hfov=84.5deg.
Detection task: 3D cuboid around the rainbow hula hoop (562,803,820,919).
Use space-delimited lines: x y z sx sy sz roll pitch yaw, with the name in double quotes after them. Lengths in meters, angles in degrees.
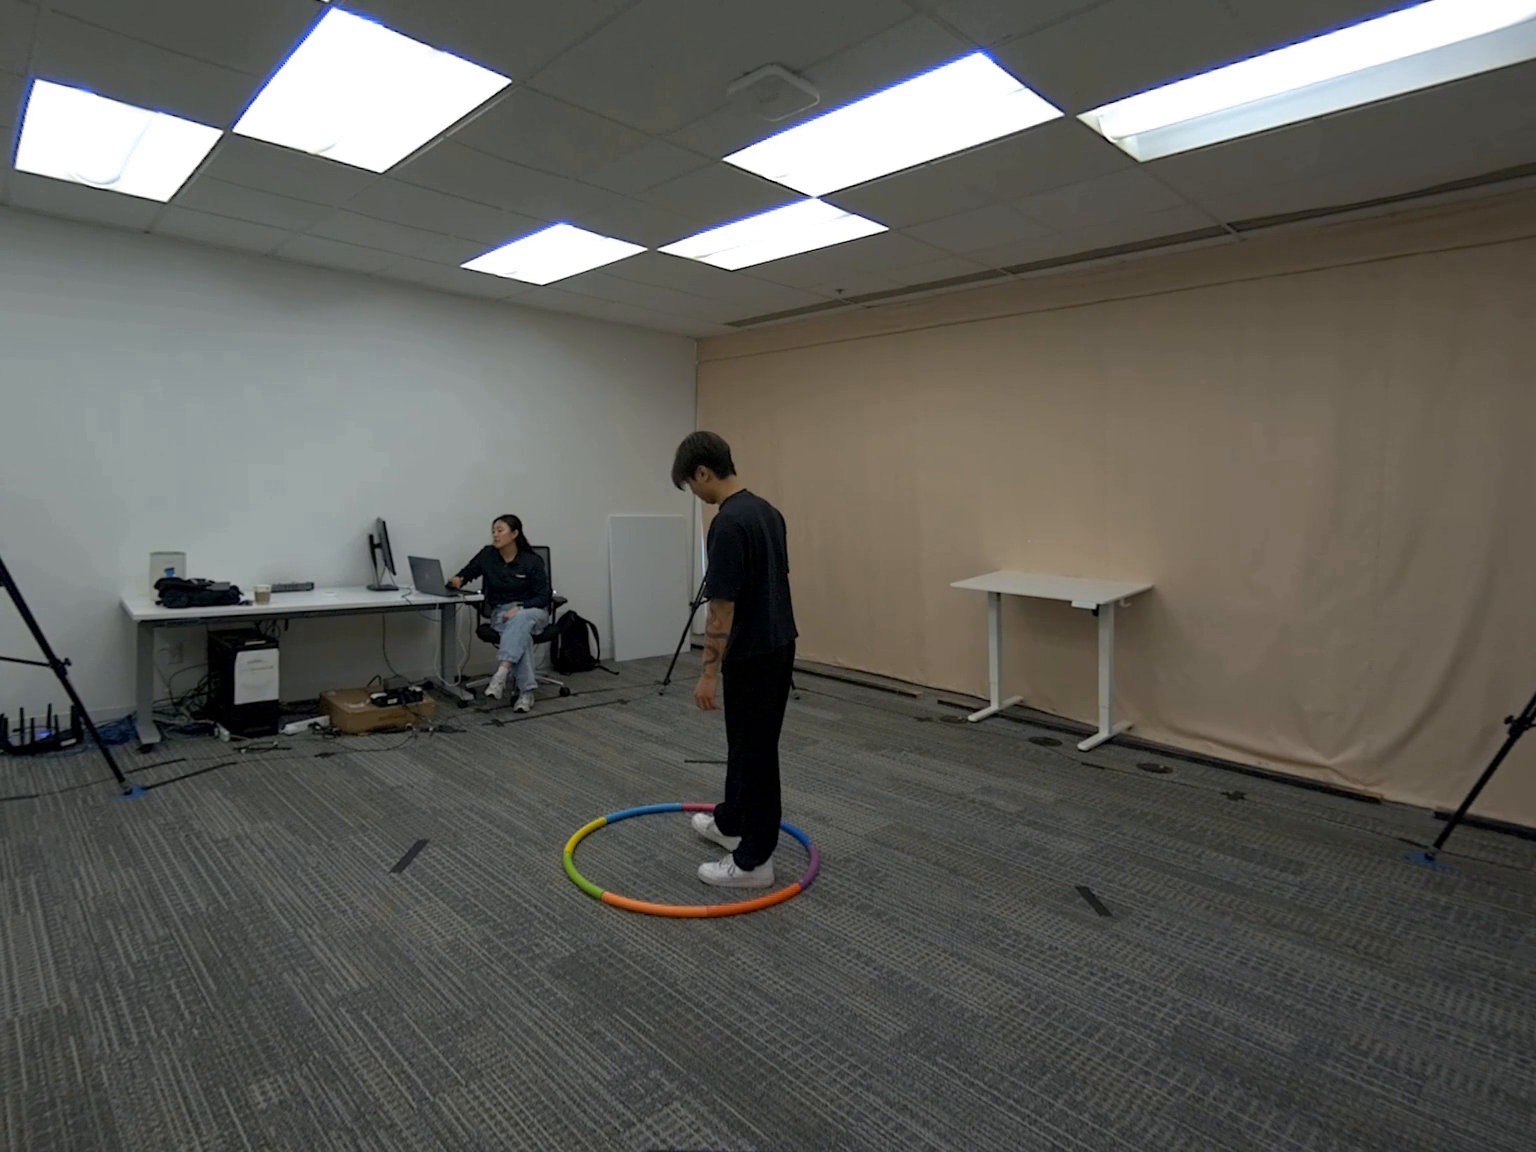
-0.299 1.058 3.264 0.978 0.035 0.982 1 5 -1 "rainbow hula hoop"
